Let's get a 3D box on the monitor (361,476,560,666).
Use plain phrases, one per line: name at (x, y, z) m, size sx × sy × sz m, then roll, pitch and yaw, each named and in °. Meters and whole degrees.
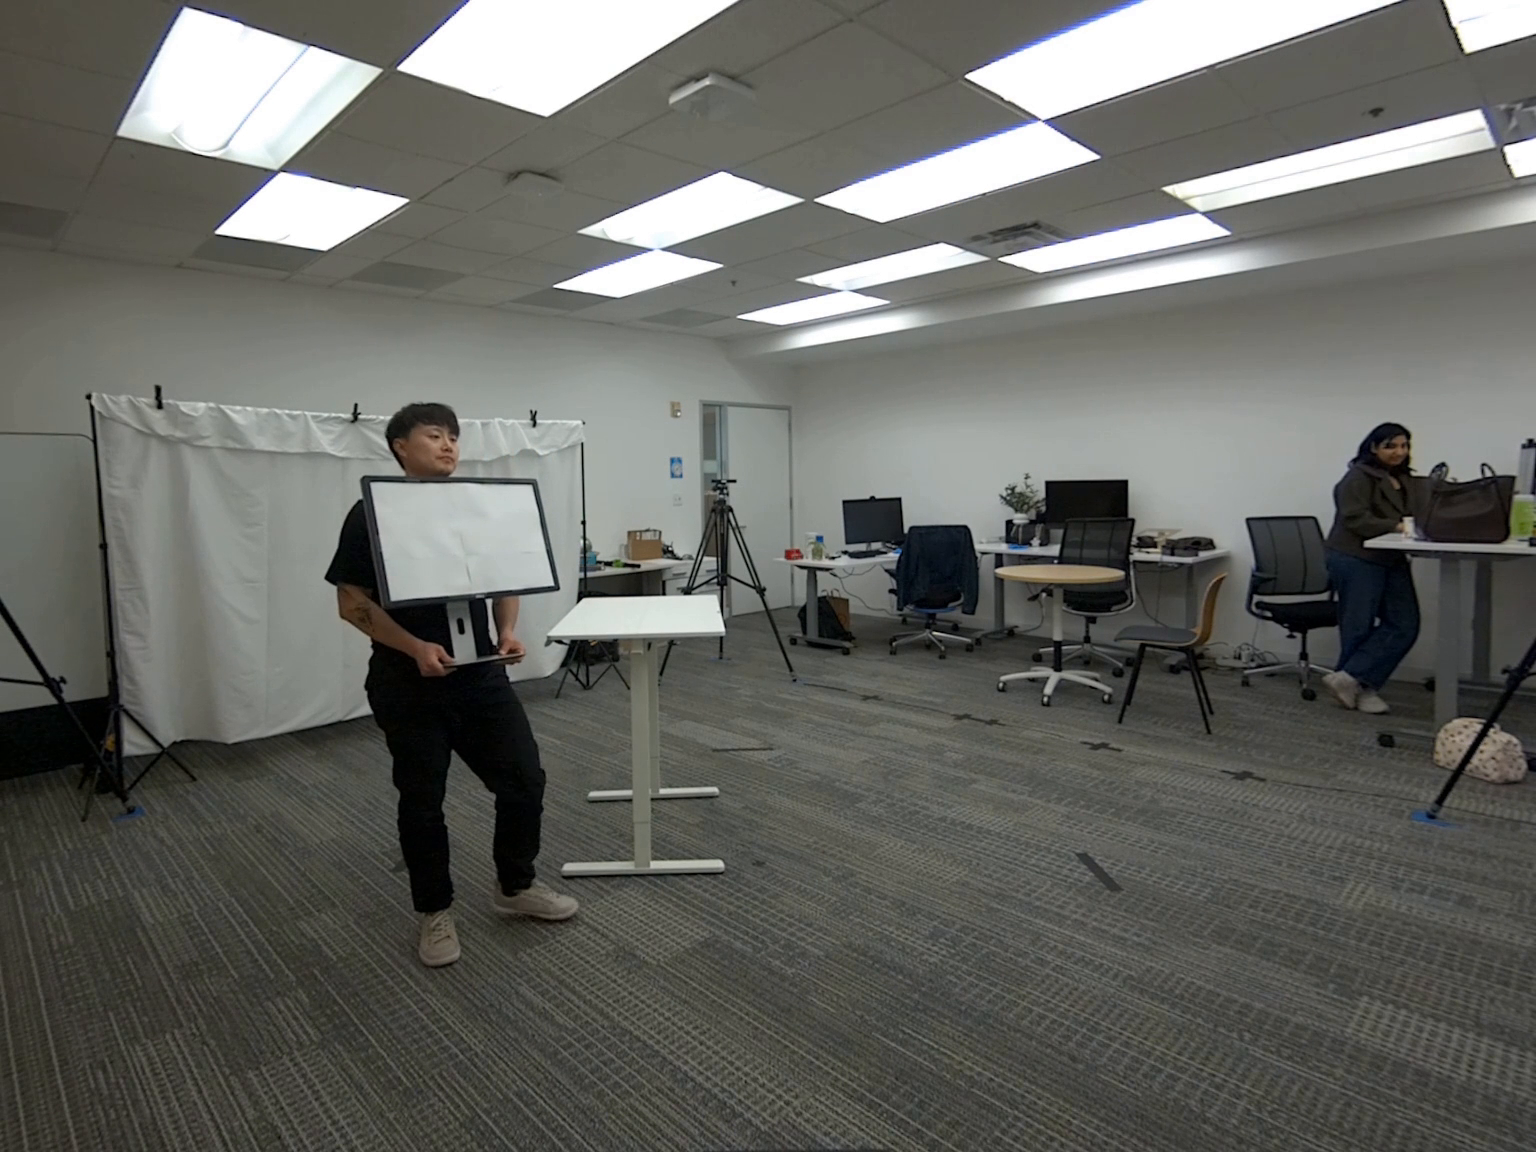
monitor at (-0.872, -0.021, 2.467) m, size 0.192 × 0.524 × 0.525 m, roll -8°, pitch -2°, yaw 39°
